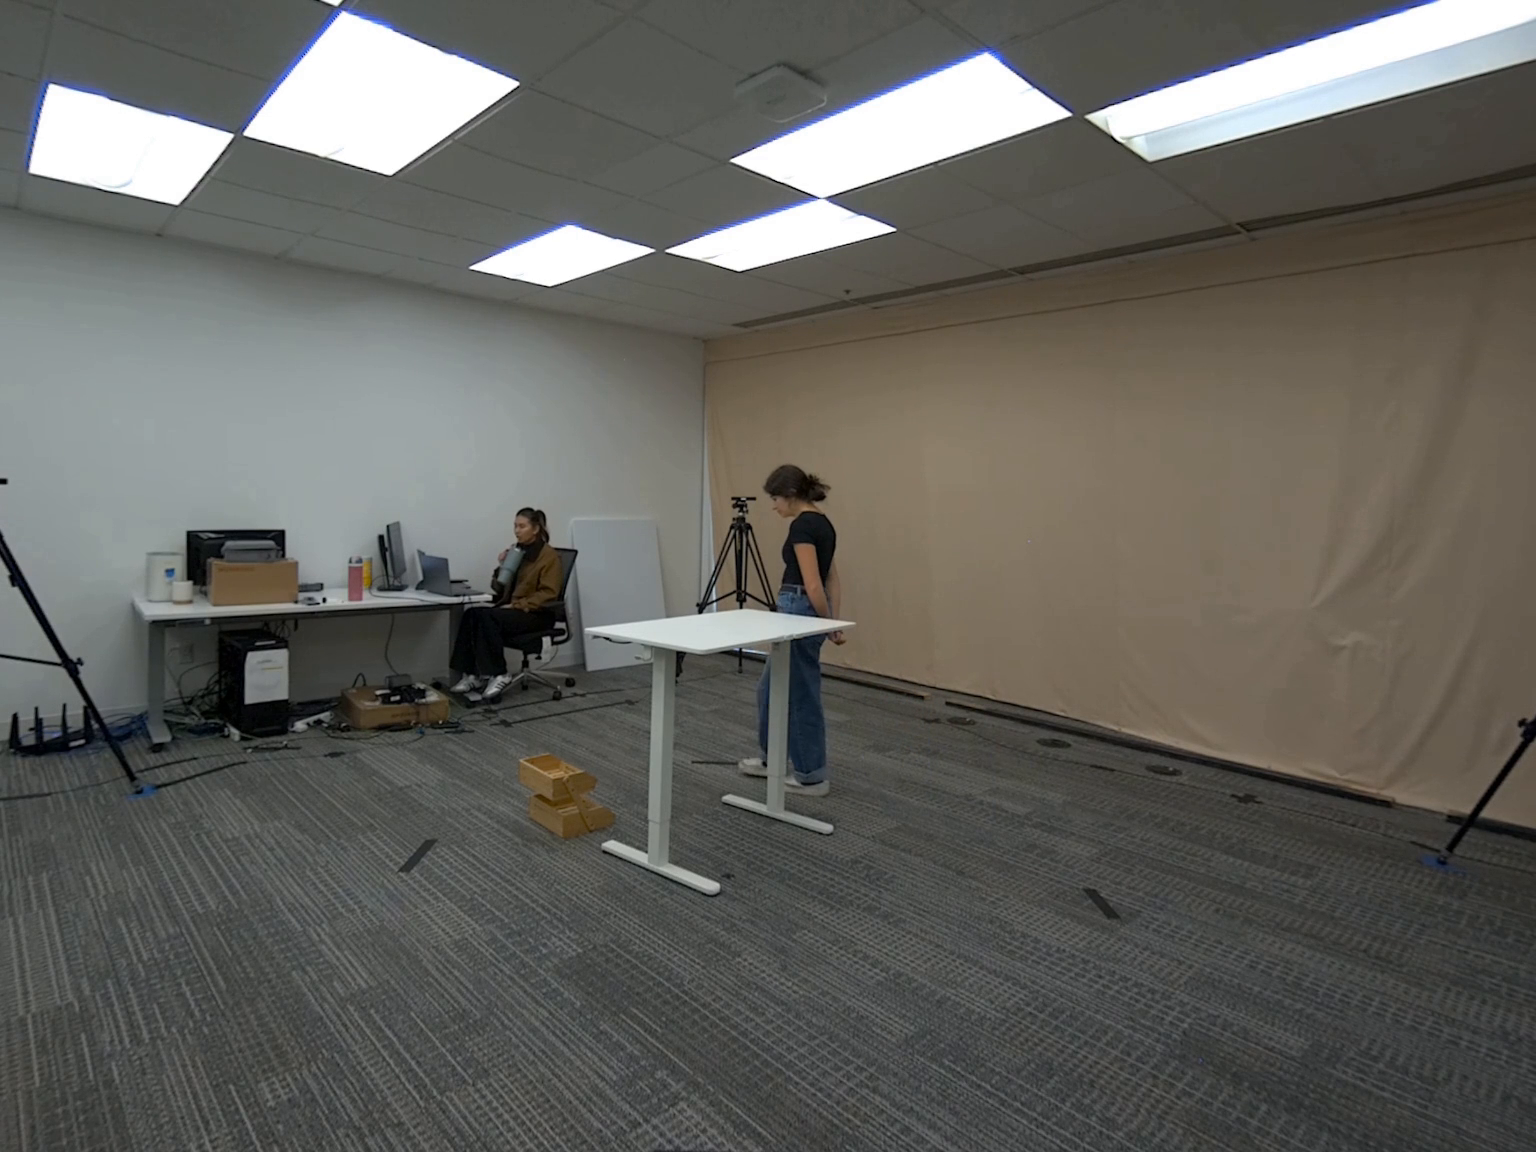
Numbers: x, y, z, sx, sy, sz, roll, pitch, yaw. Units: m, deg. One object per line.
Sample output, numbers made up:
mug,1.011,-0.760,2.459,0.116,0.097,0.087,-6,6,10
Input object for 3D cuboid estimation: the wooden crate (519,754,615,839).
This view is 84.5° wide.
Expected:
wooden crate,-0.865,0.916,3.580,0.295,0.272,0.333,-3,7,-42
